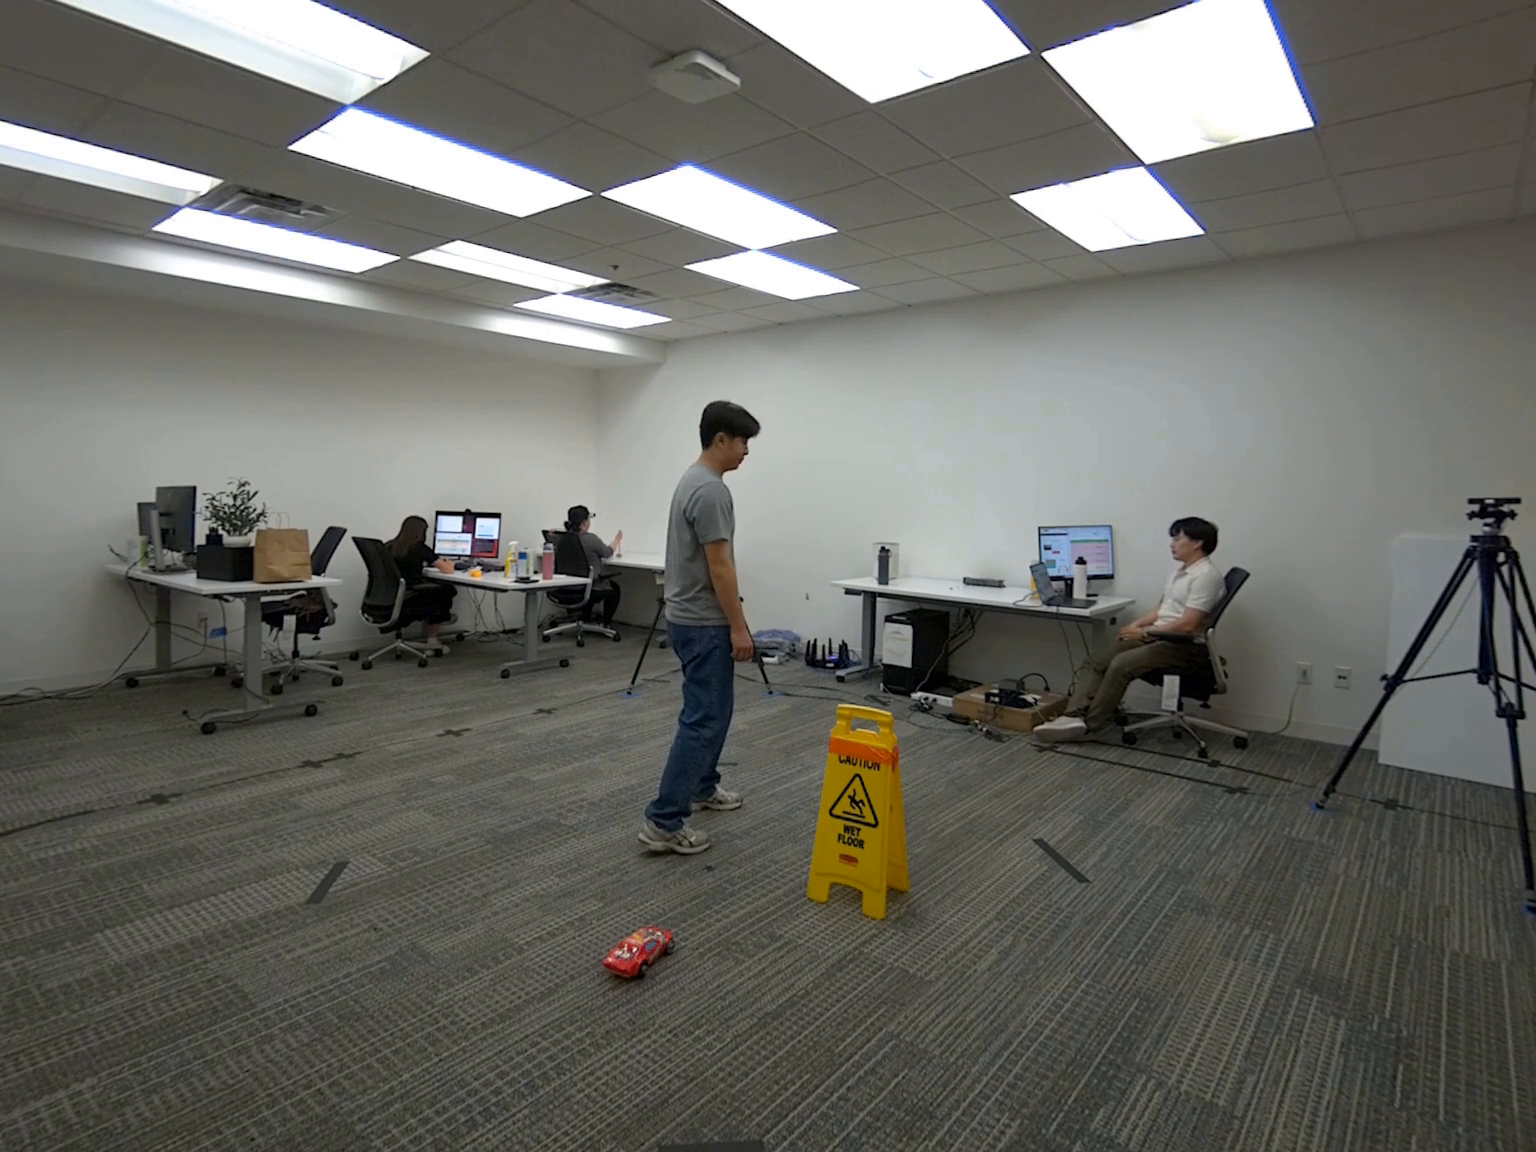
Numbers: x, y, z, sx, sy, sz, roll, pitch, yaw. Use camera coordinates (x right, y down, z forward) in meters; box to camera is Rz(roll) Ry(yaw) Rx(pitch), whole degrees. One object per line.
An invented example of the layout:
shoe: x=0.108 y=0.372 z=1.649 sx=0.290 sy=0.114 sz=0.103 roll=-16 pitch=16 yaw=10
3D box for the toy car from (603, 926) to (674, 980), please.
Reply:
toy car: x=-0.389 y=1.097 z=2.470 sx=0.134 sy=0.083 sz=0.246 roll=5 pitch=-5 yaw=27
